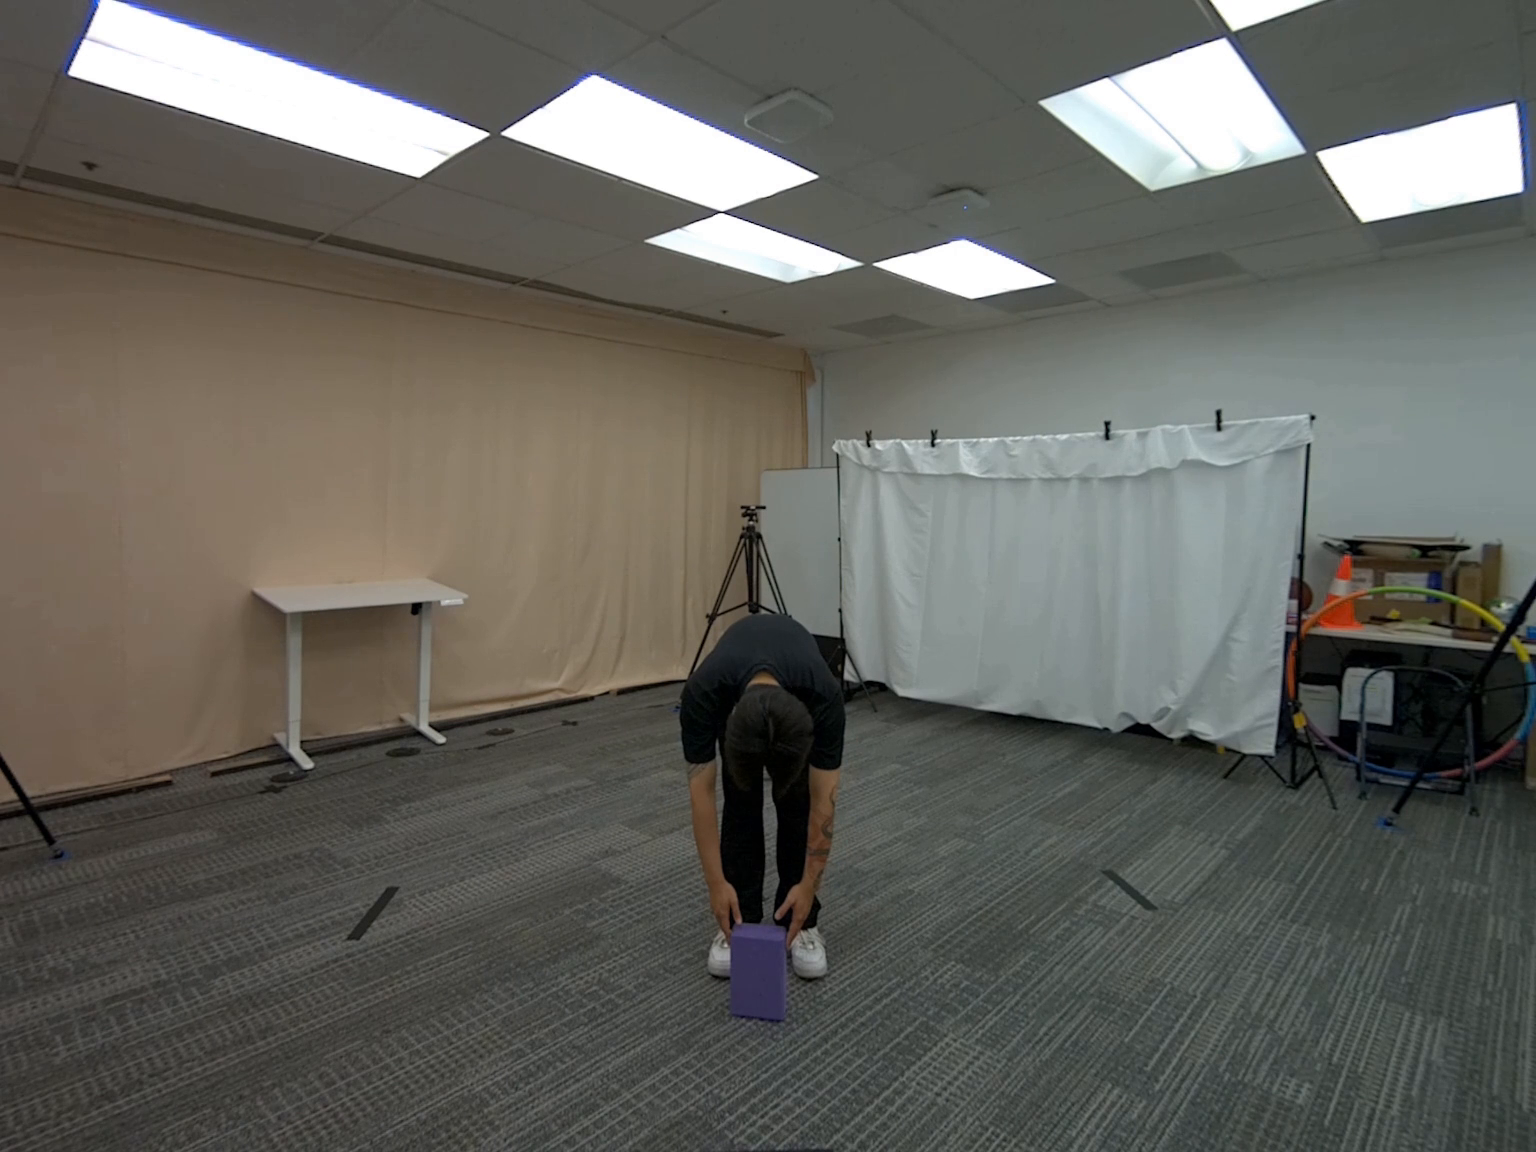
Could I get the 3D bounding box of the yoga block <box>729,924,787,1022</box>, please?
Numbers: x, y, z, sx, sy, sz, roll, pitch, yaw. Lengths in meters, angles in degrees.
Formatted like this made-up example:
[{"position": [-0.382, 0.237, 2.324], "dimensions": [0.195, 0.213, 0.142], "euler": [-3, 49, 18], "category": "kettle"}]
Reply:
[{"position": [-0.025, 1.082, 2.313], "dimensions": [0.150, 0.229, 0.076], "euler": [0, 3, 8], "category": "yoga block"}]
